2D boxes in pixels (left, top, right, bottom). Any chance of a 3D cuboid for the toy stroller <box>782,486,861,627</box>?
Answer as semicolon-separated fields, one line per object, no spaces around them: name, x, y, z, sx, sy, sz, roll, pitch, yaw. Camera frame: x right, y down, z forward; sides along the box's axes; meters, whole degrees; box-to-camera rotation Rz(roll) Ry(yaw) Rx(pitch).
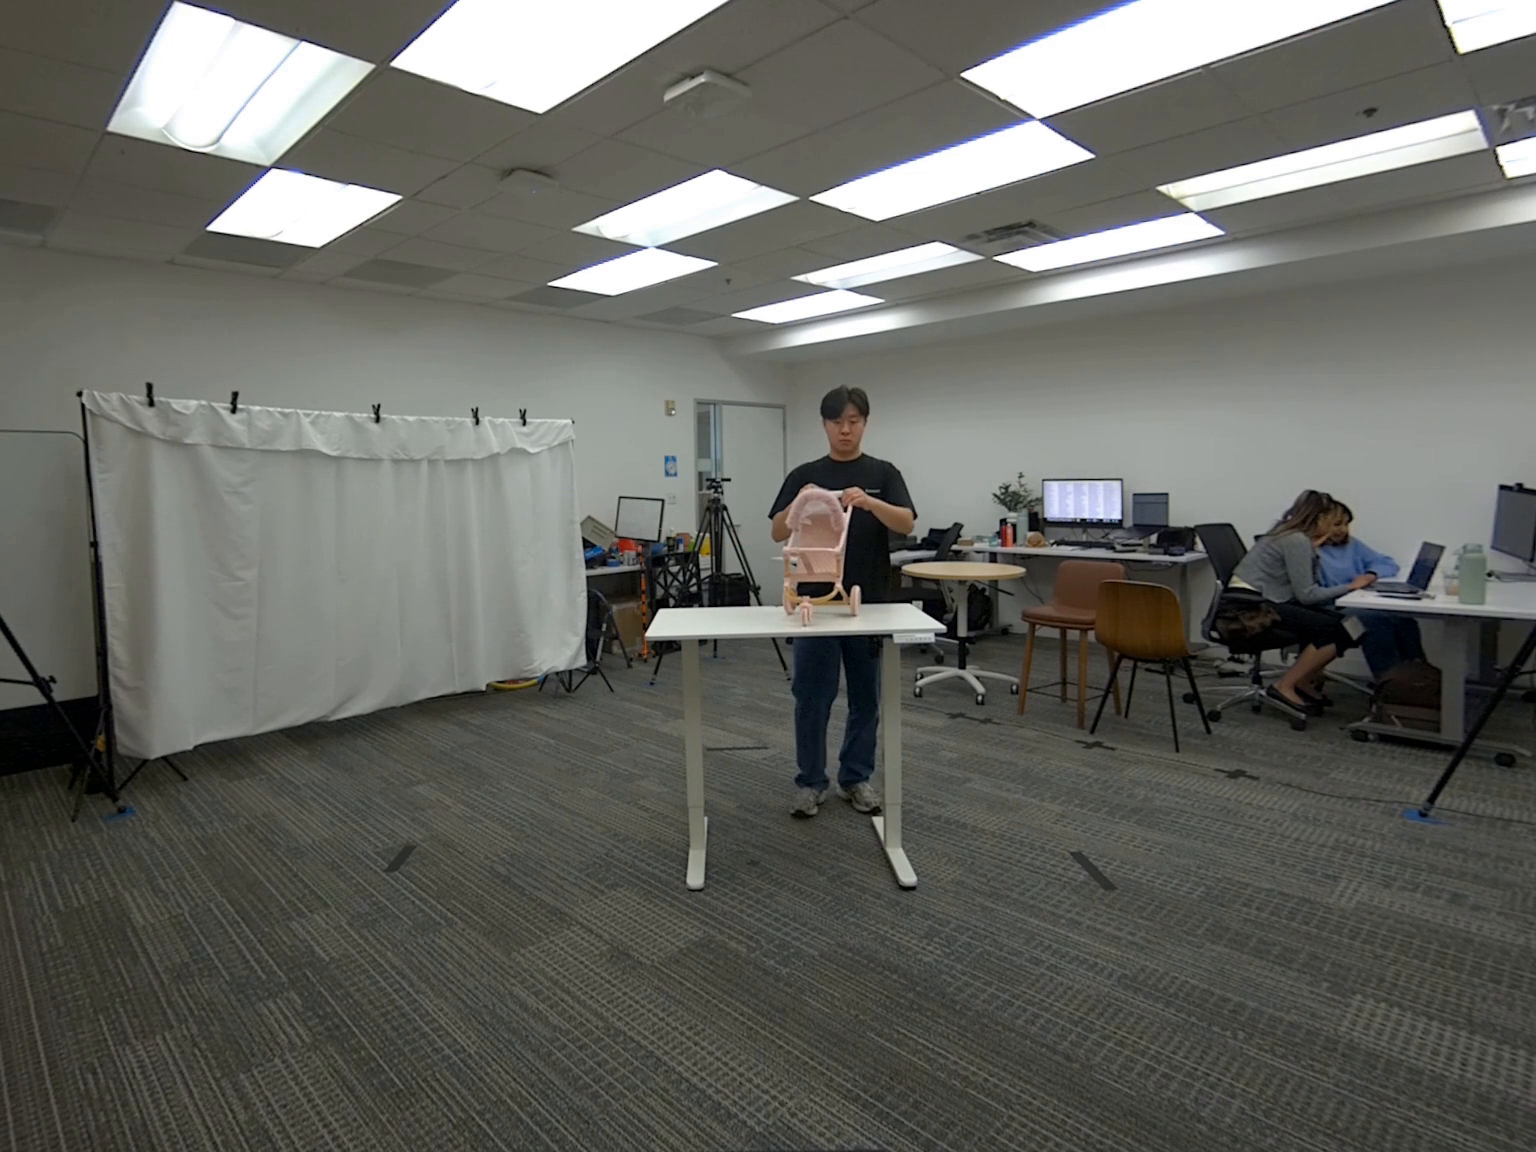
toy stroller;0.170;-0.073;3.100;0.287;0.539;0.332;-1;-9;22
